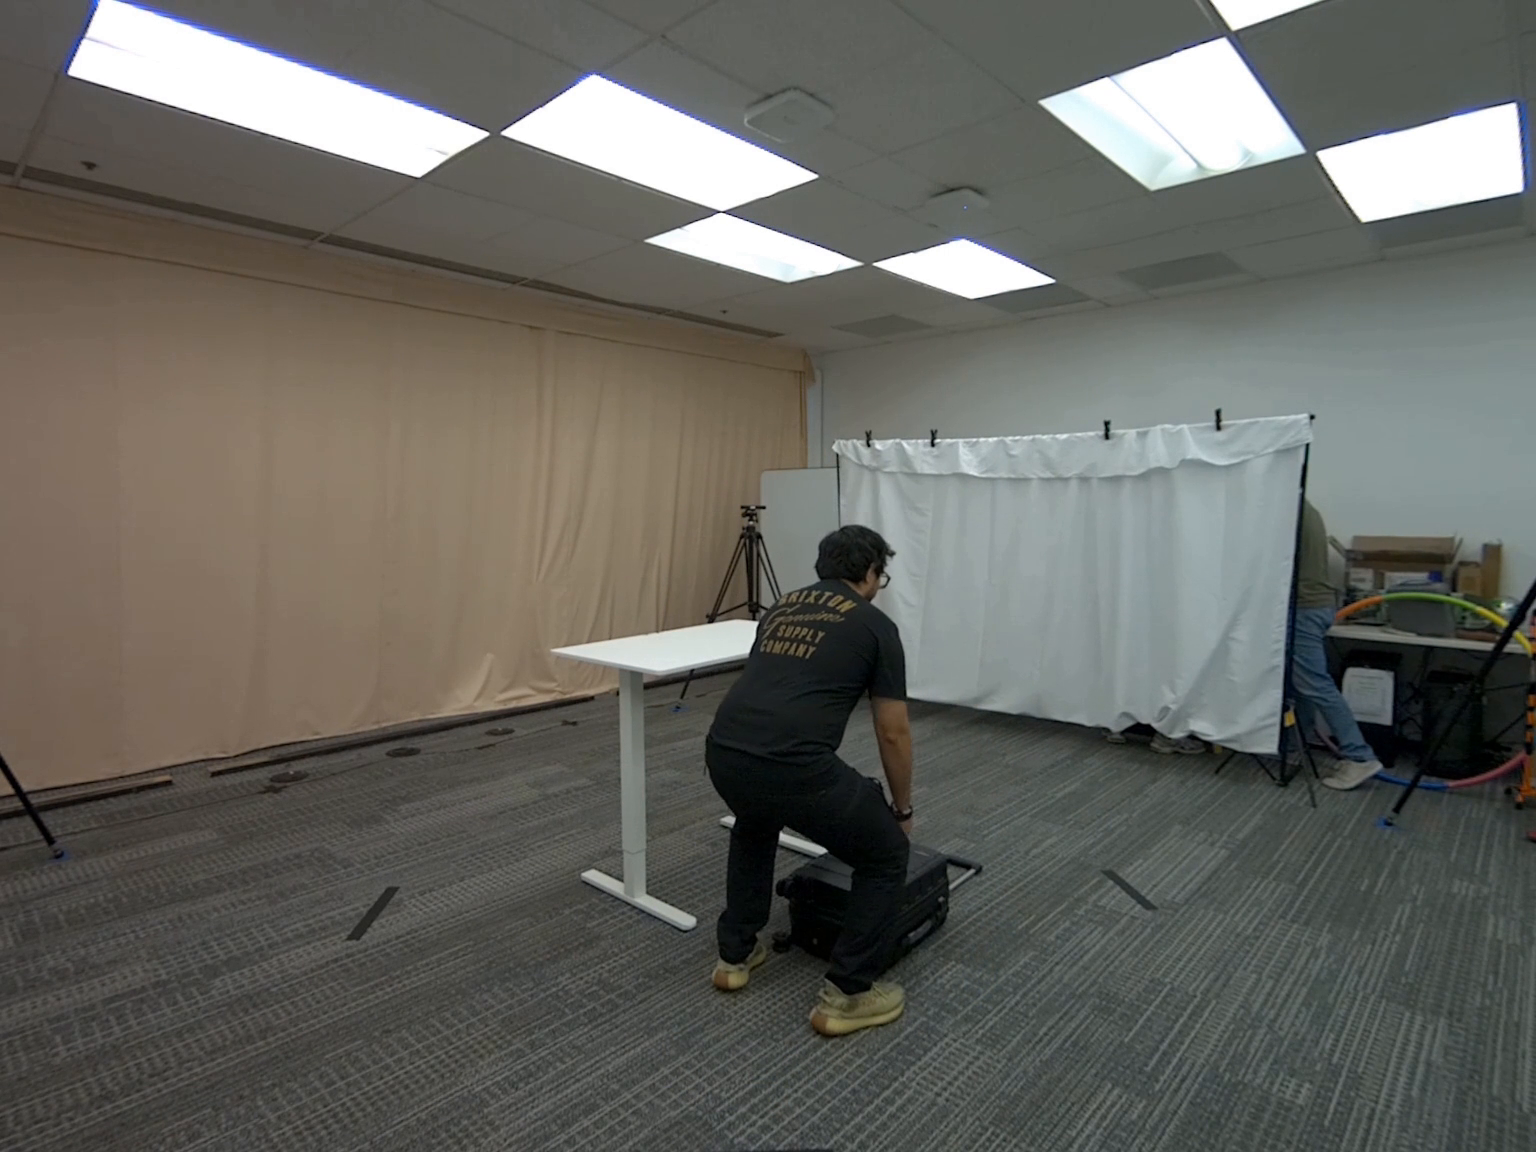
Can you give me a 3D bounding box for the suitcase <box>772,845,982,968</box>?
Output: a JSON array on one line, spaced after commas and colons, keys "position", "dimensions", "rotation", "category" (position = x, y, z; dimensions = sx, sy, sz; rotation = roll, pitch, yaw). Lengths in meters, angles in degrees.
[{"position": [0.462, 1.030, 2.876], "dimensions": [0.396, 0.256, 0.950], "rotation": [2, 7, 38], "category": "suitcase"}]
